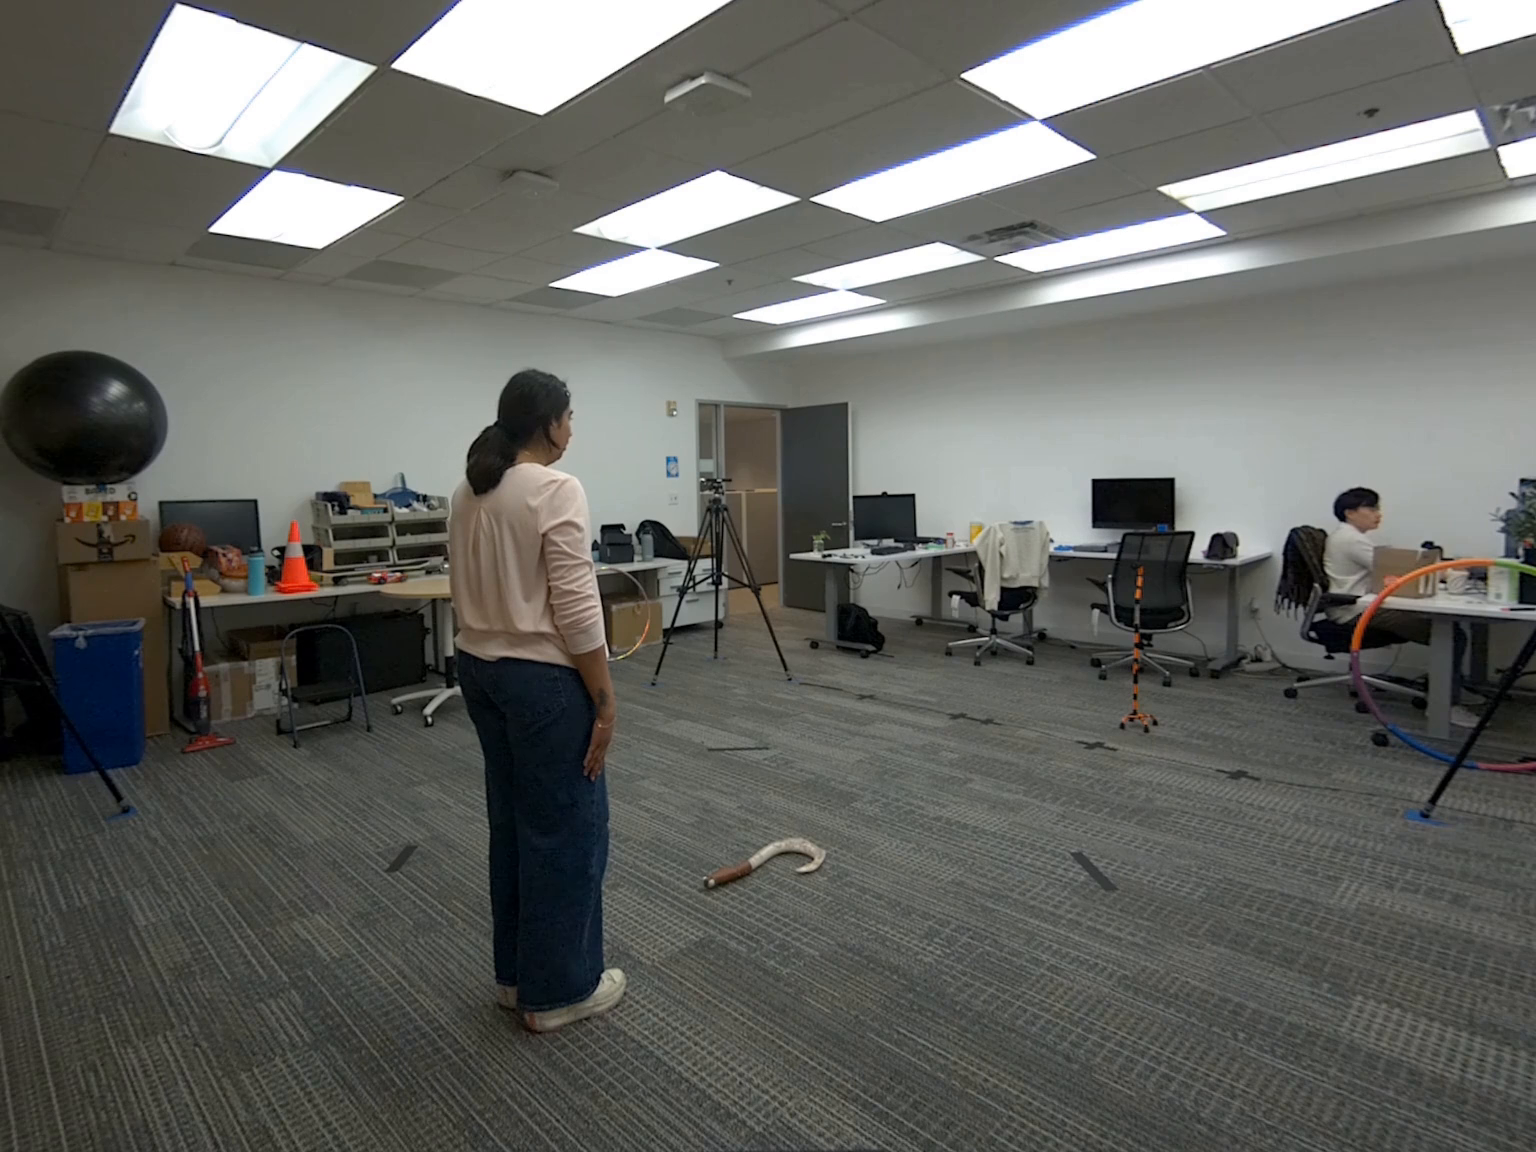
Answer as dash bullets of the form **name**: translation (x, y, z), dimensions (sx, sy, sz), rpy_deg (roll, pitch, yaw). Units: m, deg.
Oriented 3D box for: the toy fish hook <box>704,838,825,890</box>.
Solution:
- **toy fish hook**: translation (0.003, 1.030, 3.028), dimensions (0.493, 0.048, 0.231), rpy_deg (-7, 8, -42)
